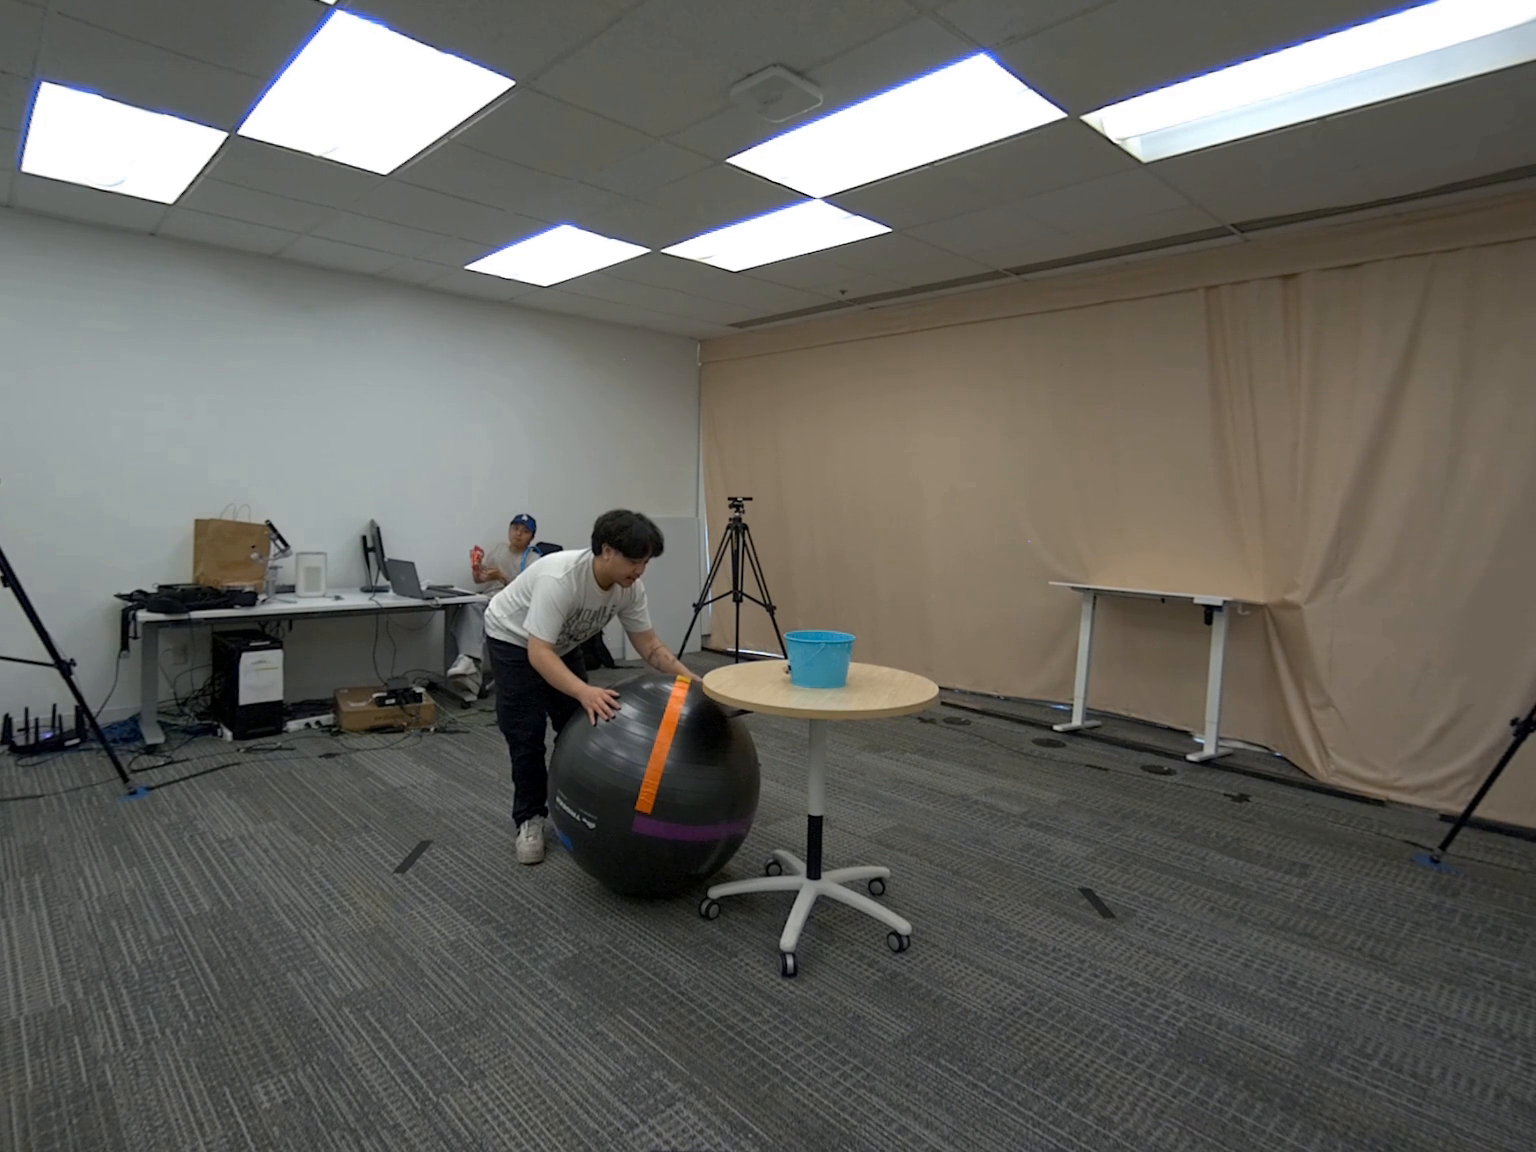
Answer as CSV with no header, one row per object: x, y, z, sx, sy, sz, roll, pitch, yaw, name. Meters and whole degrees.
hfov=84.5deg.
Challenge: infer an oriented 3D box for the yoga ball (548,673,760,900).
-0.415,0.743,3.014,0.757,0.756,0.760,1,4,-1,yoga ball
